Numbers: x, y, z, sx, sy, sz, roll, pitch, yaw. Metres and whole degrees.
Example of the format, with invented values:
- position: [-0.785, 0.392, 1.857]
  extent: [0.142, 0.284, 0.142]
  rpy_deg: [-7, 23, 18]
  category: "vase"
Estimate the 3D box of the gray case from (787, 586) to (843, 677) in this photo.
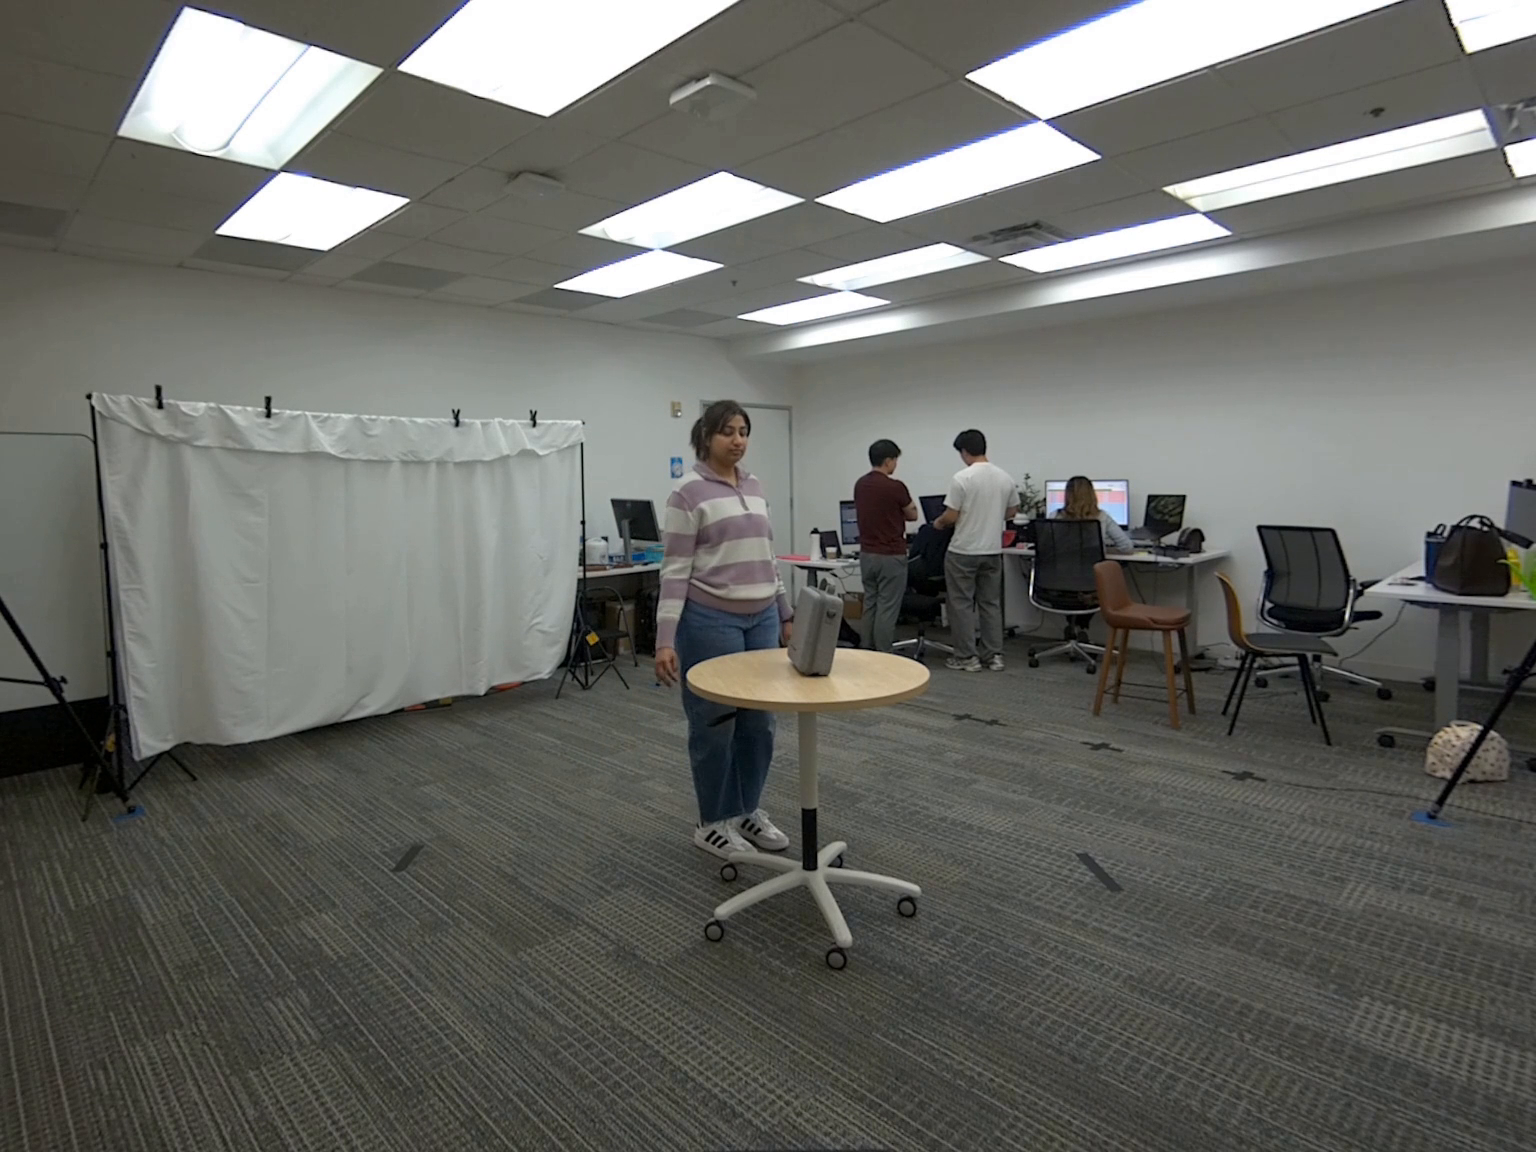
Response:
- position: [0.152, 0.171, 2.742]
  extent: [0.103, 0.259, 0.260]
  rpy_deg: [8, 6, -8]
  category: "gray case"
